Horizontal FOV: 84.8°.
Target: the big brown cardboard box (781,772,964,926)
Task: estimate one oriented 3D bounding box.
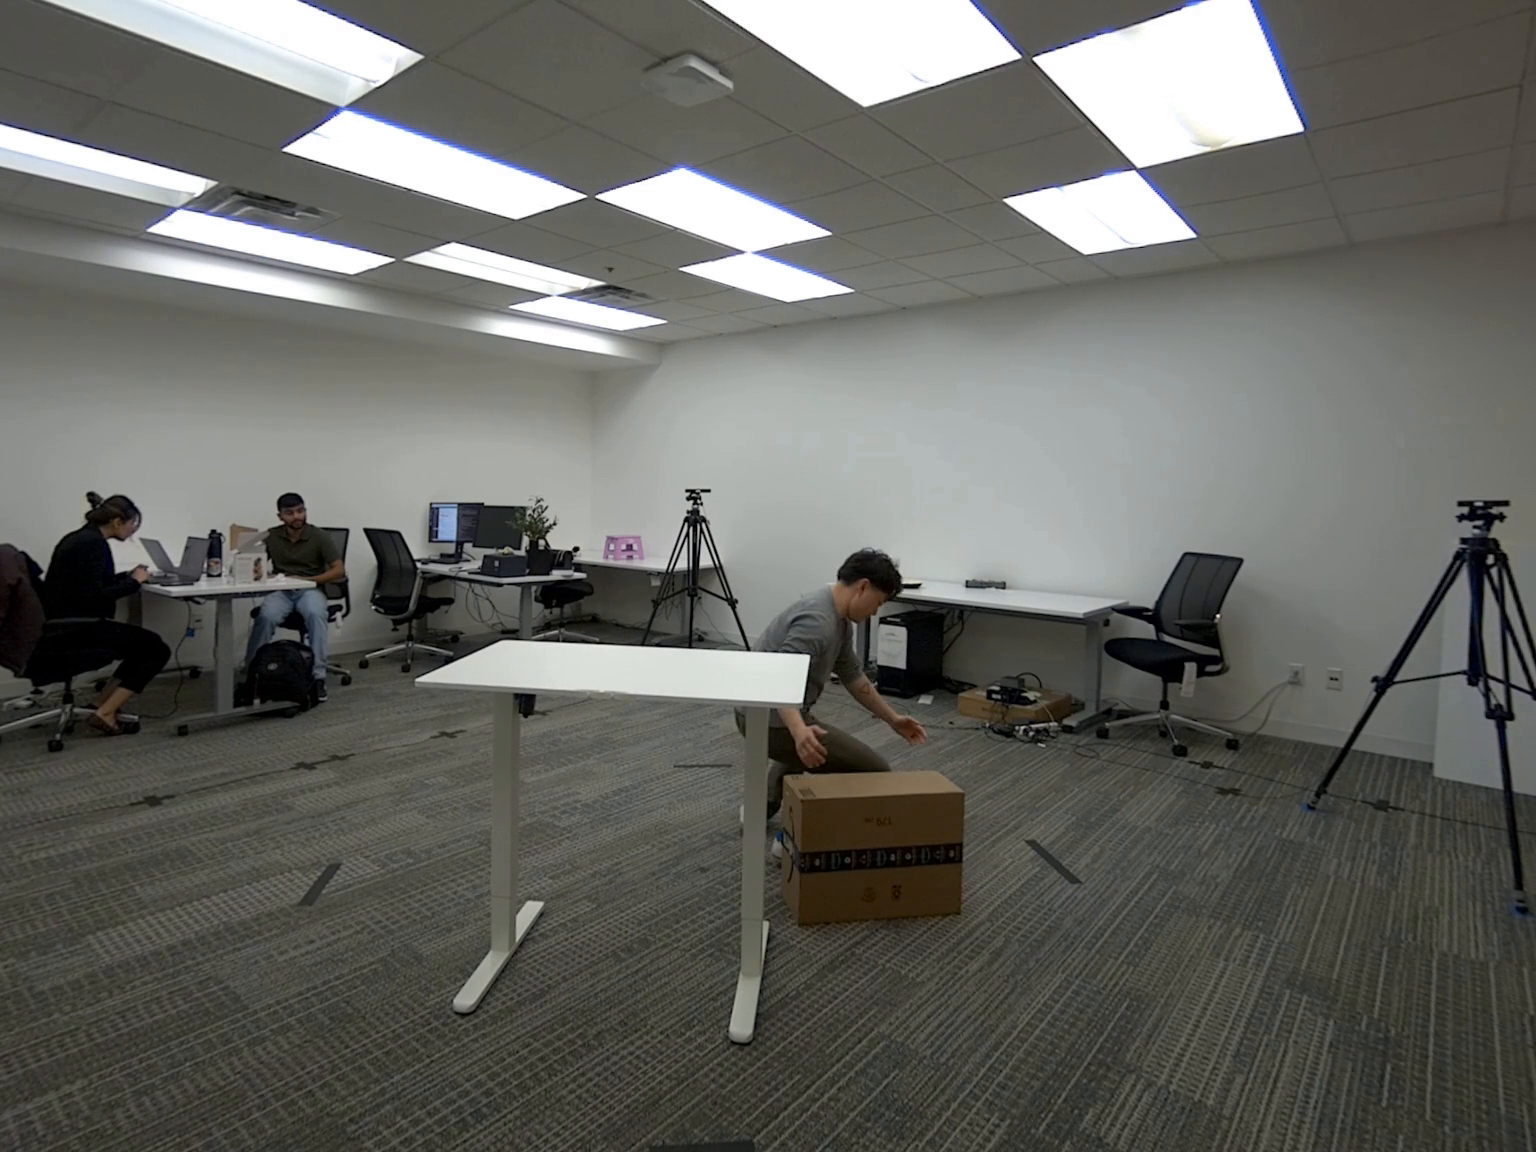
[{"bbox_3d":[0.338,0.898,2.869,0.583,0.416,0.237,0,5,-10],"label":"big brown cardboard box"}]
